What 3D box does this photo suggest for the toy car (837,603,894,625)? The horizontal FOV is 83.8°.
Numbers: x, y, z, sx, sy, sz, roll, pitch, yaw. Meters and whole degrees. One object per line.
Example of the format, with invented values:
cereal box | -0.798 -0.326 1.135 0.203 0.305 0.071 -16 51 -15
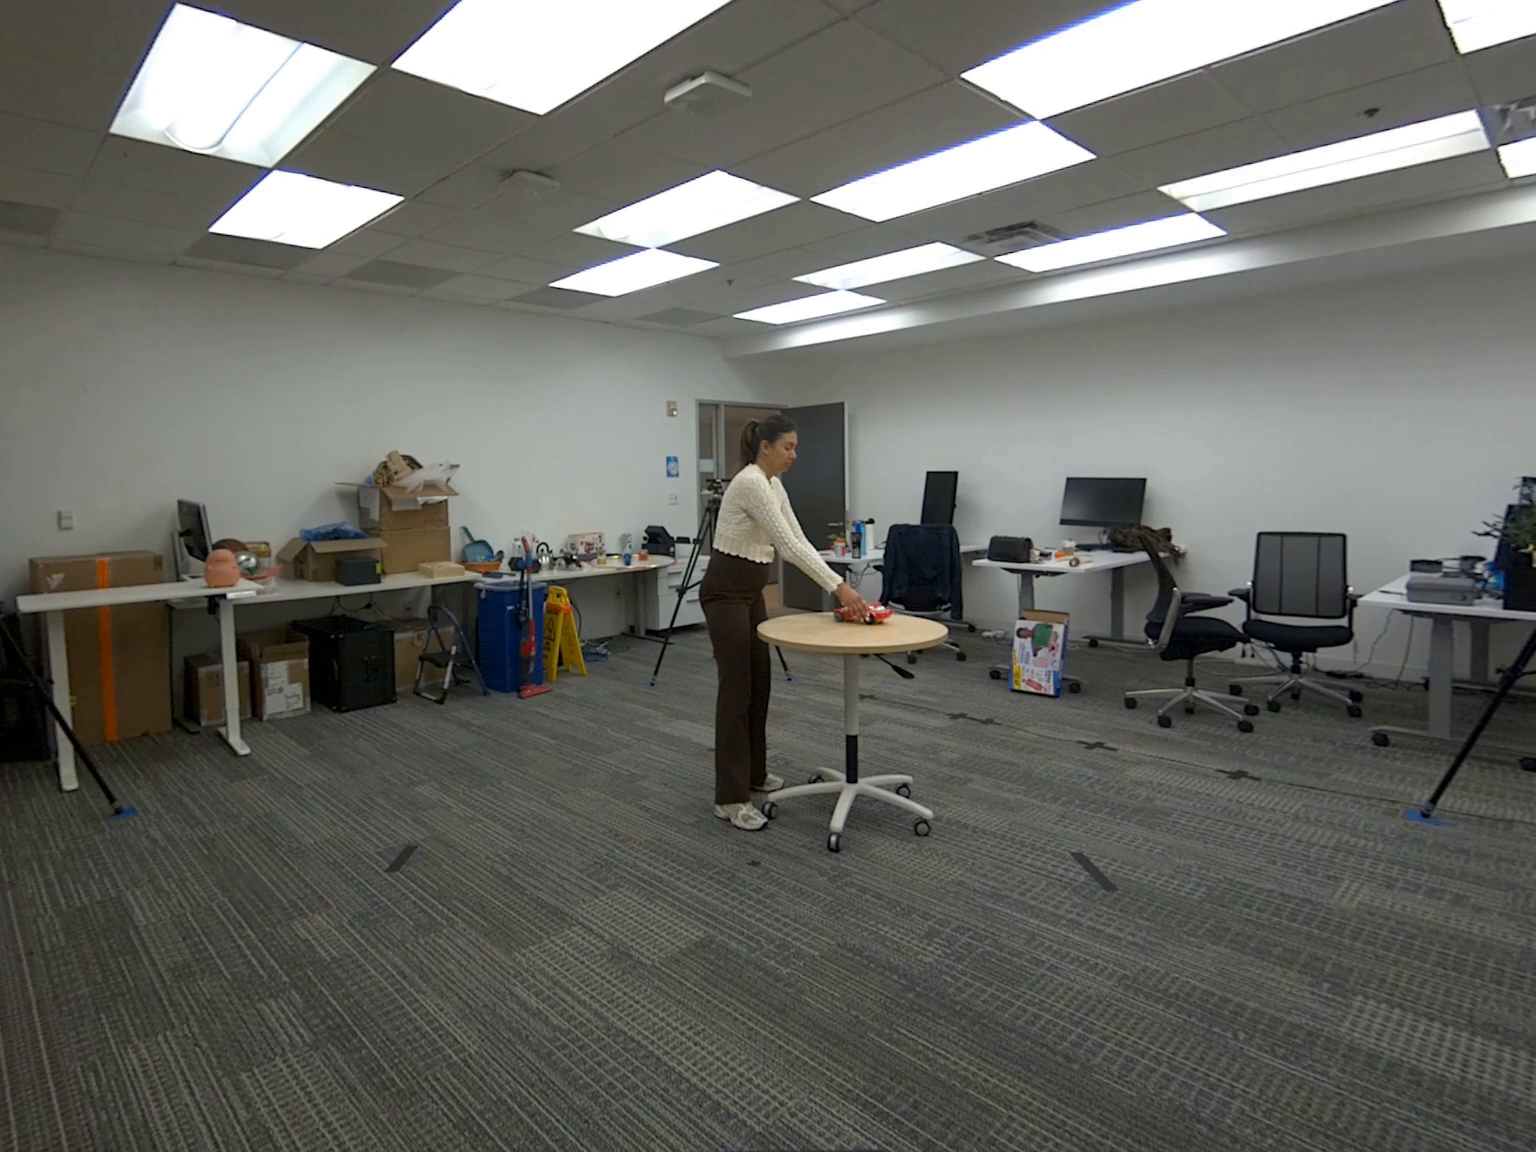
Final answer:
toy car | 0.408 0.163 3.604 0.260 0.083 0.127 -9 0 35
